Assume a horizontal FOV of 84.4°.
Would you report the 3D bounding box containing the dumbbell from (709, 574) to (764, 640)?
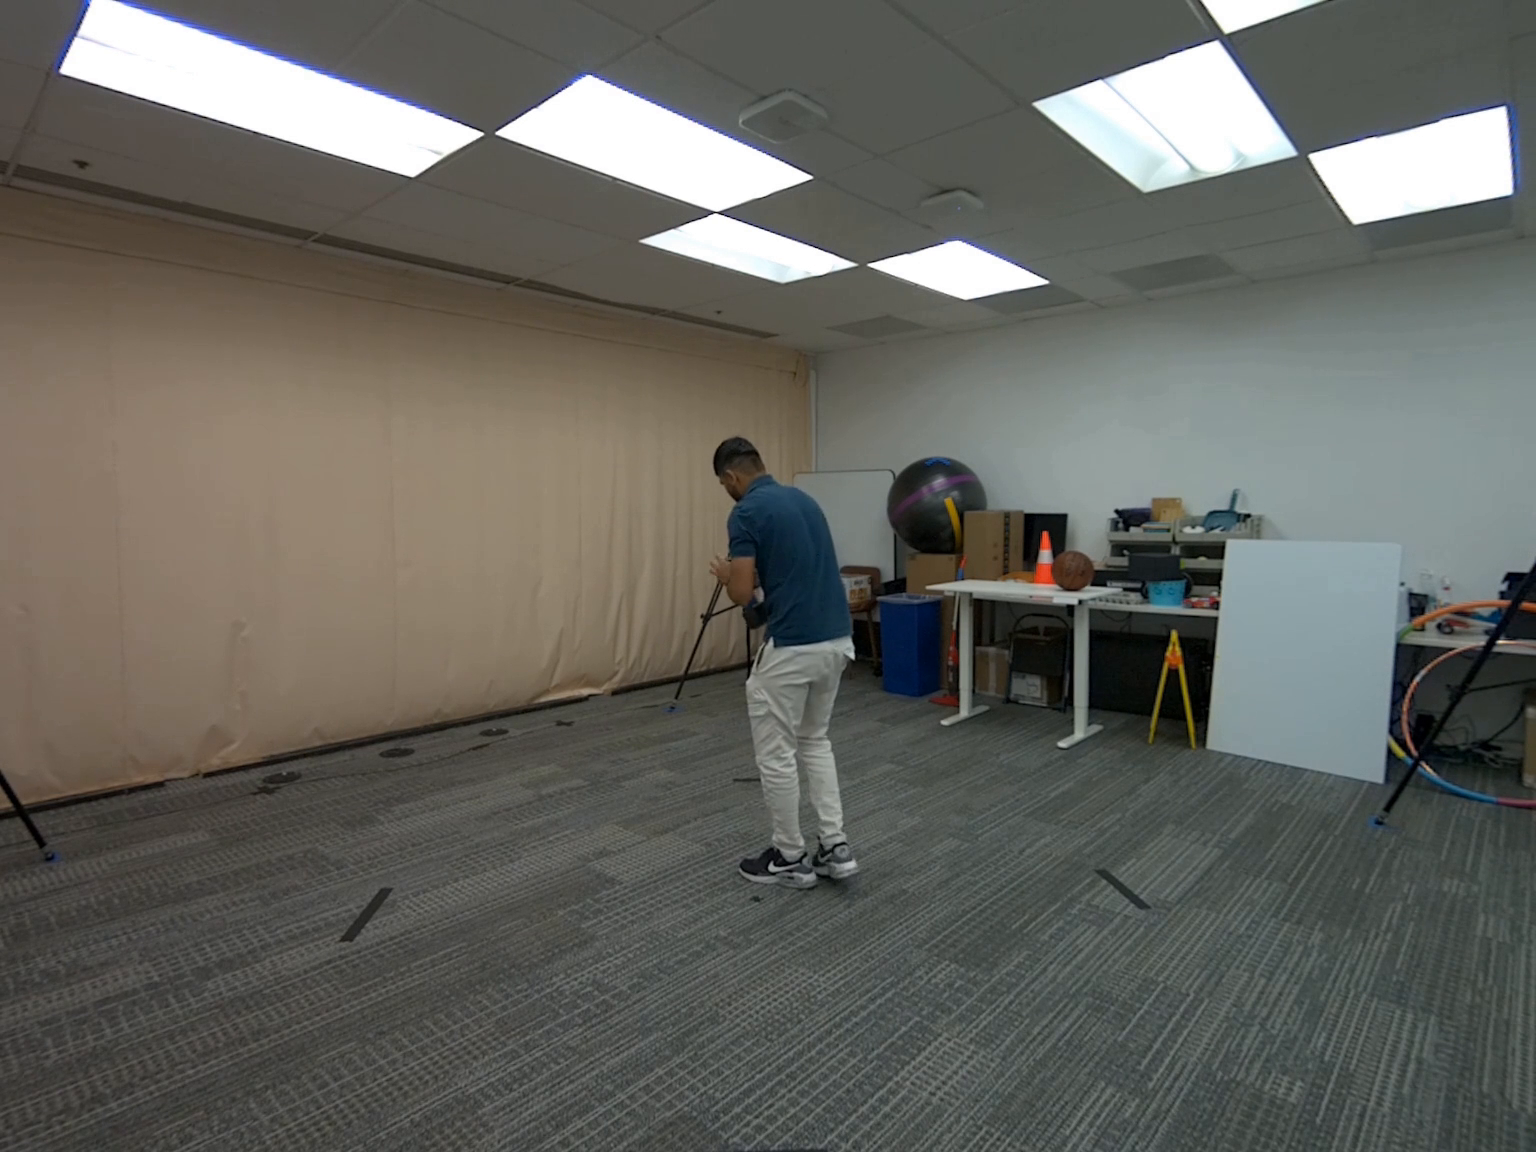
[{"bbox_3d":[-0.085,0.078,3.320,0.124,0.297,0.106,-38,-10,32],"label":"dumbbell"}]
